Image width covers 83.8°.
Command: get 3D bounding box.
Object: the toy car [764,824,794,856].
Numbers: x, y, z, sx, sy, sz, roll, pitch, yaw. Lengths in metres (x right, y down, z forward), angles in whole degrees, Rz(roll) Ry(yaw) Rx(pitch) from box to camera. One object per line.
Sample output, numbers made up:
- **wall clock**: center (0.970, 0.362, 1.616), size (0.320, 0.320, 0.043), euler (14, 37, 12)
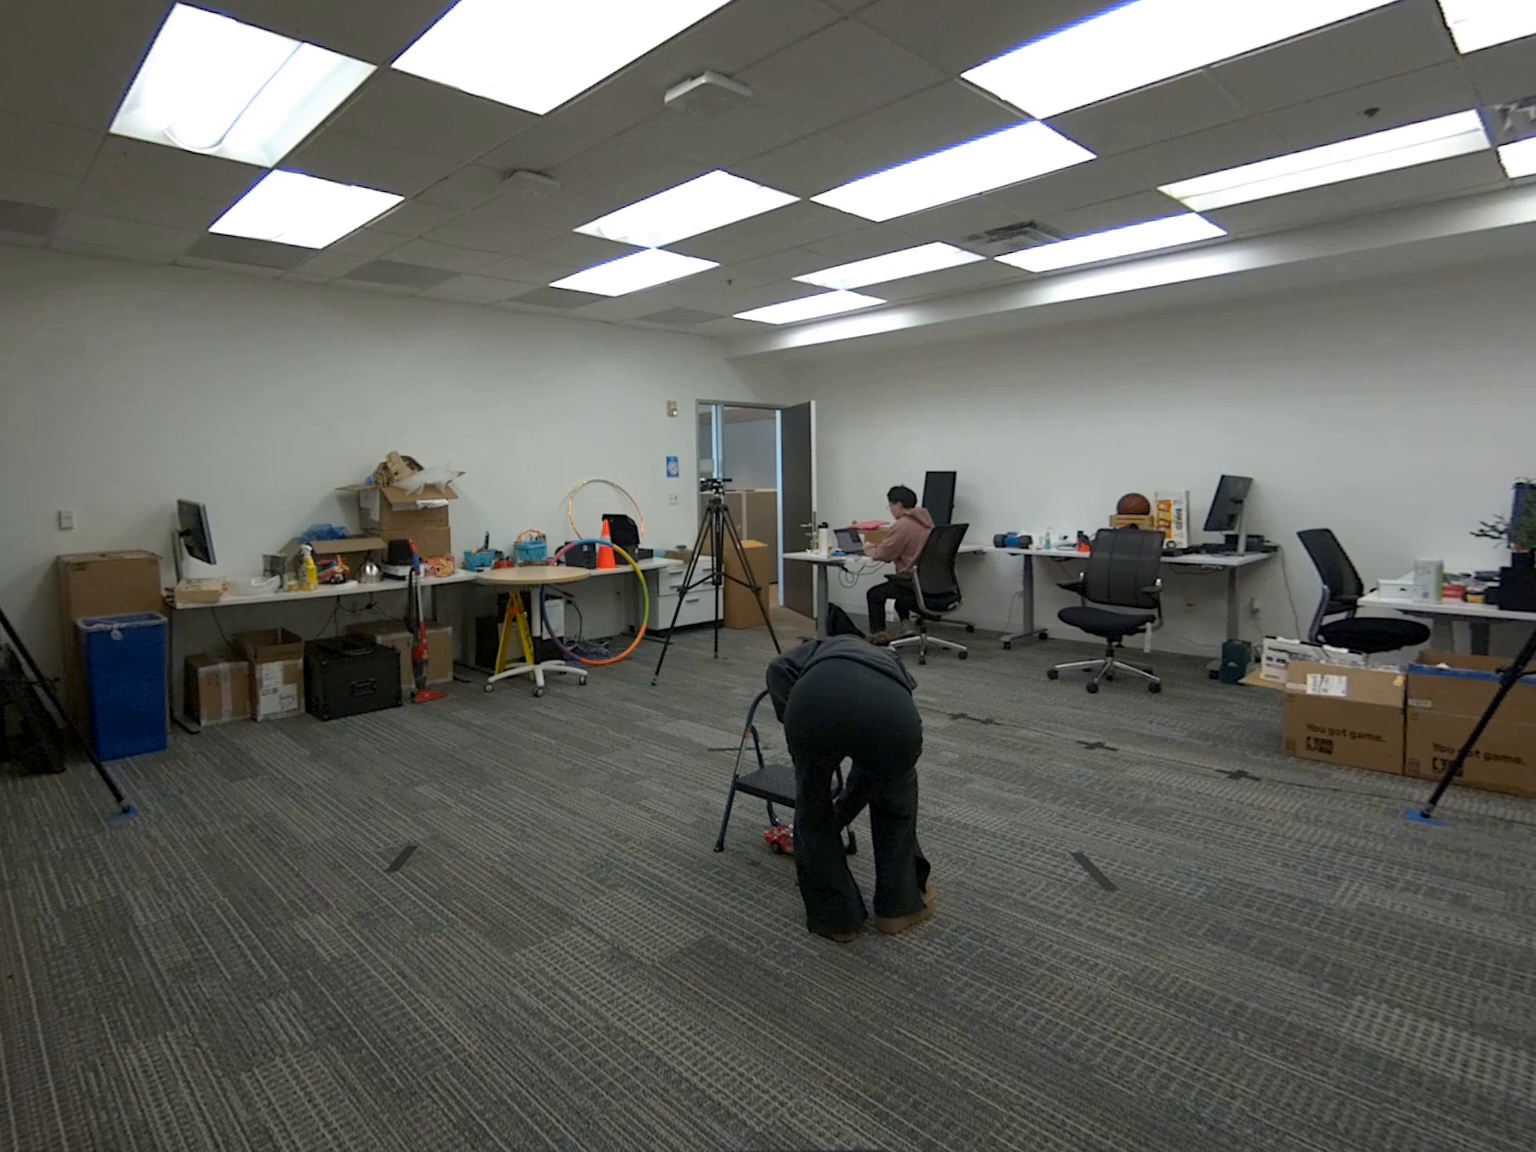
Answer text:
- **toy car**: center (0.113, 1.001, 3.174), size (0.263, 0.082, 0.127), euler (18, 16, 35)
